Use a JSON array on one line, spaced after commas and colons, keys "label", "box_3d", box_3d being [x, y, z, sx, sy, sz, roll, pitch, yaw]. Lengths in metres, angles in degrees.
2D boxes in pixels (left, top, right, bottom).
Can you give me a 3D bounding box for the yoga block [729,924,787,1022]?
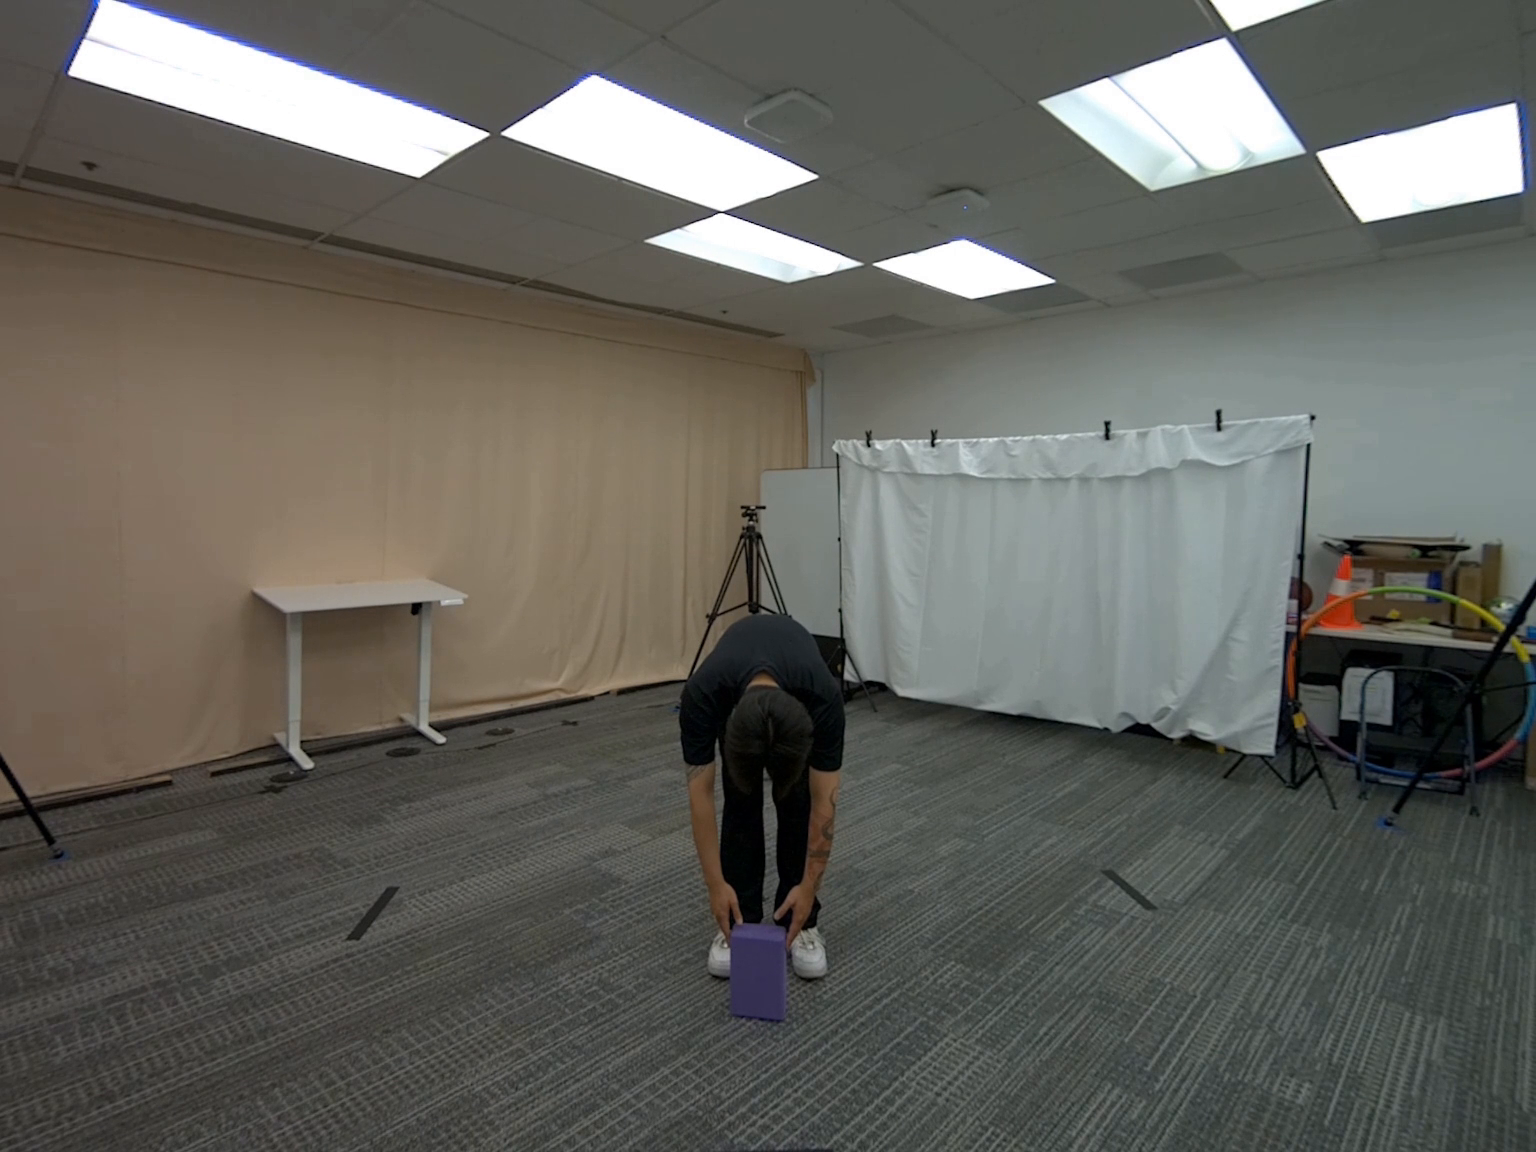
[{"label": "yoga block", "box_3d": [-0.024, 1.080, 2.312, 0.150, 0.229, 0.076, 0, 4, 8]}]
